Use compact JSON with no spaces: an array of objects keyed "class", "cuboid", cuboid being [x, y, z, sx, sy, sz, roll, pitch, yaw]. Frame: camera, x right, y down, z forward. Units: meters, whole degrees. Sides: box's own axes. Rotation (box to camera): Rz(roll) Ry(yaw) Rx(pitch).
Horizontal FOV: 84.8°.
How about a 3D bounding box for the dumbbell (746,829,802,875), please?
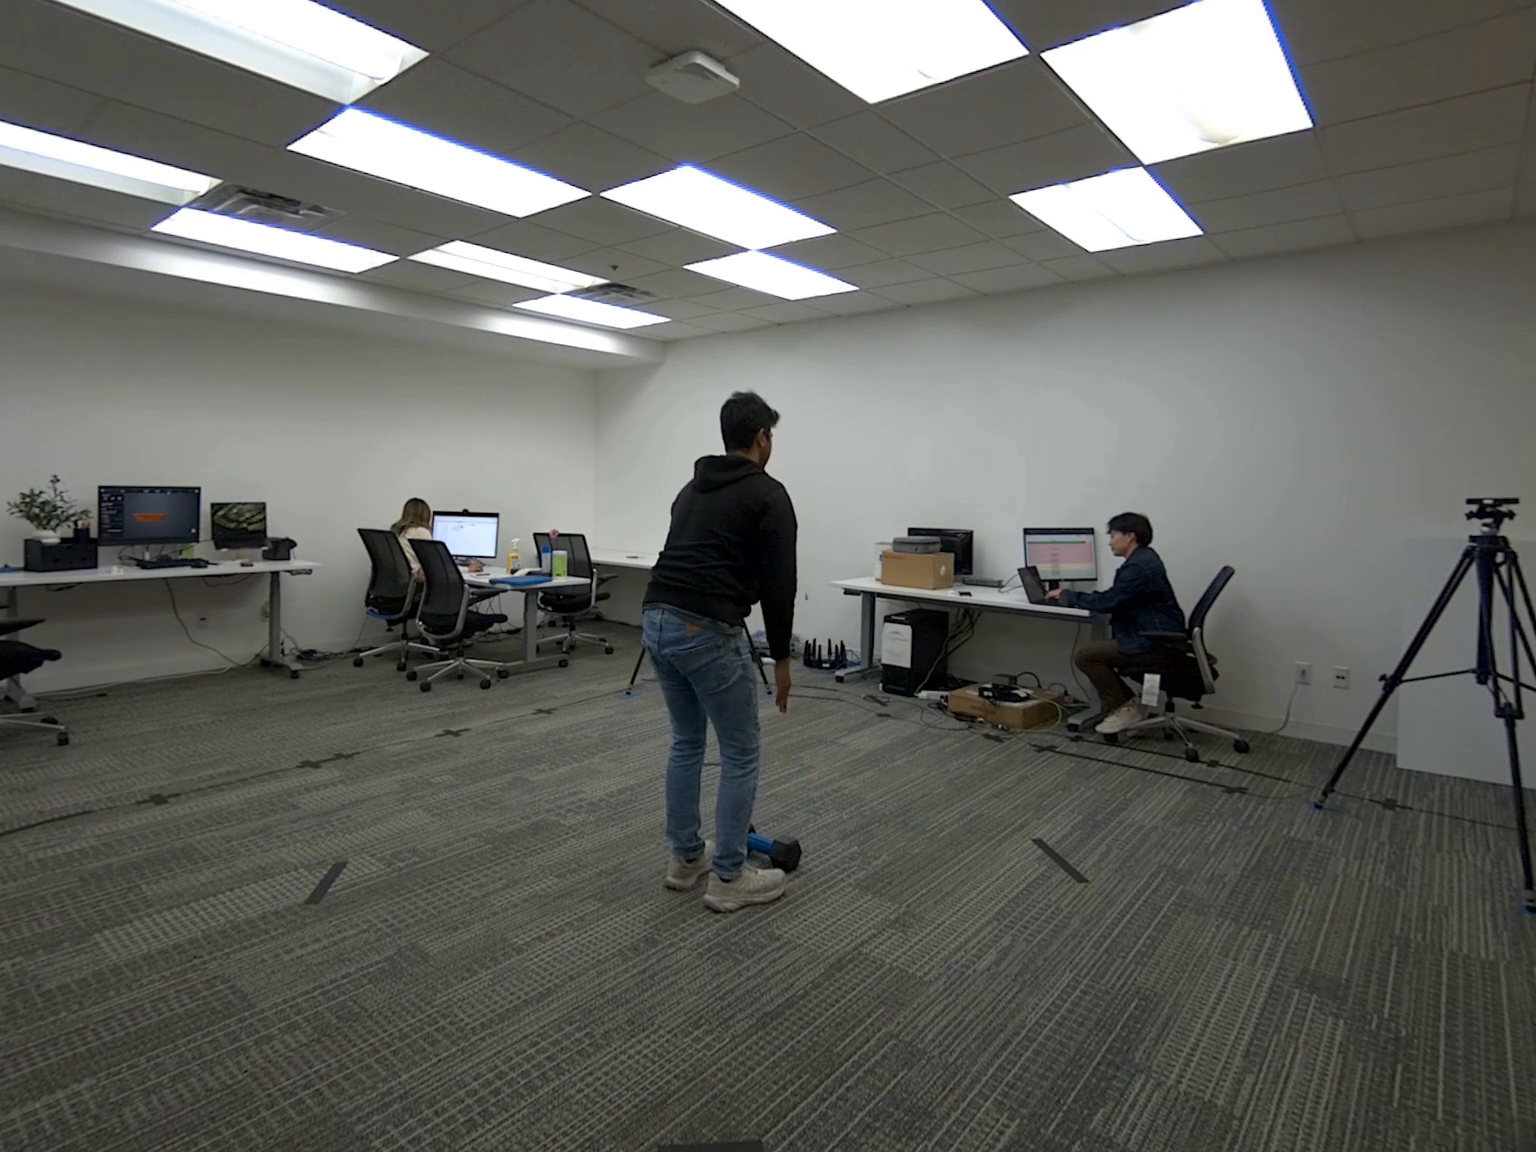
[{"class":"dumbbell","cuboid":[-0.025,1.007,3.195,0.303,0.119,0.108,4,35,40]}]
